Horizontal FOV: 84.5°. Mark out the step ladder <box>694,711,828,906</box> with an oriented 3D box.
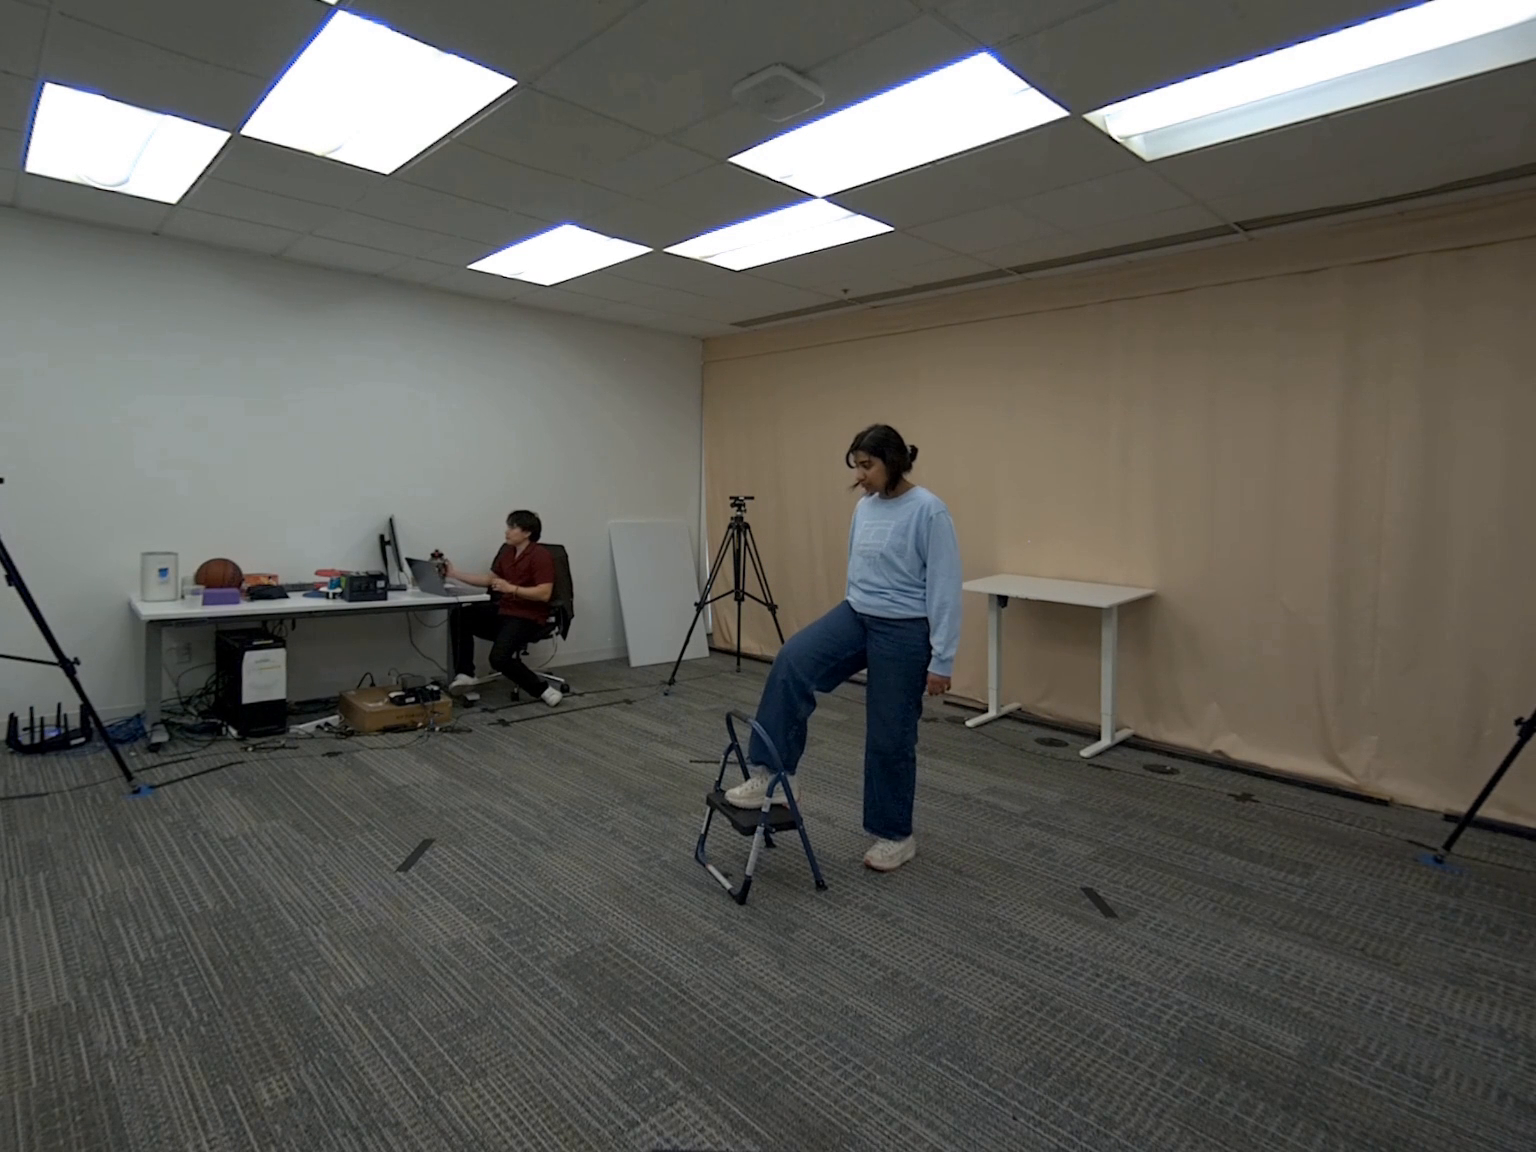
[{"bbox_3d":[-0.038,0.806,3.110,0.343,0.605,0.440,-1,4,-27],"label":"step ladder"}]
